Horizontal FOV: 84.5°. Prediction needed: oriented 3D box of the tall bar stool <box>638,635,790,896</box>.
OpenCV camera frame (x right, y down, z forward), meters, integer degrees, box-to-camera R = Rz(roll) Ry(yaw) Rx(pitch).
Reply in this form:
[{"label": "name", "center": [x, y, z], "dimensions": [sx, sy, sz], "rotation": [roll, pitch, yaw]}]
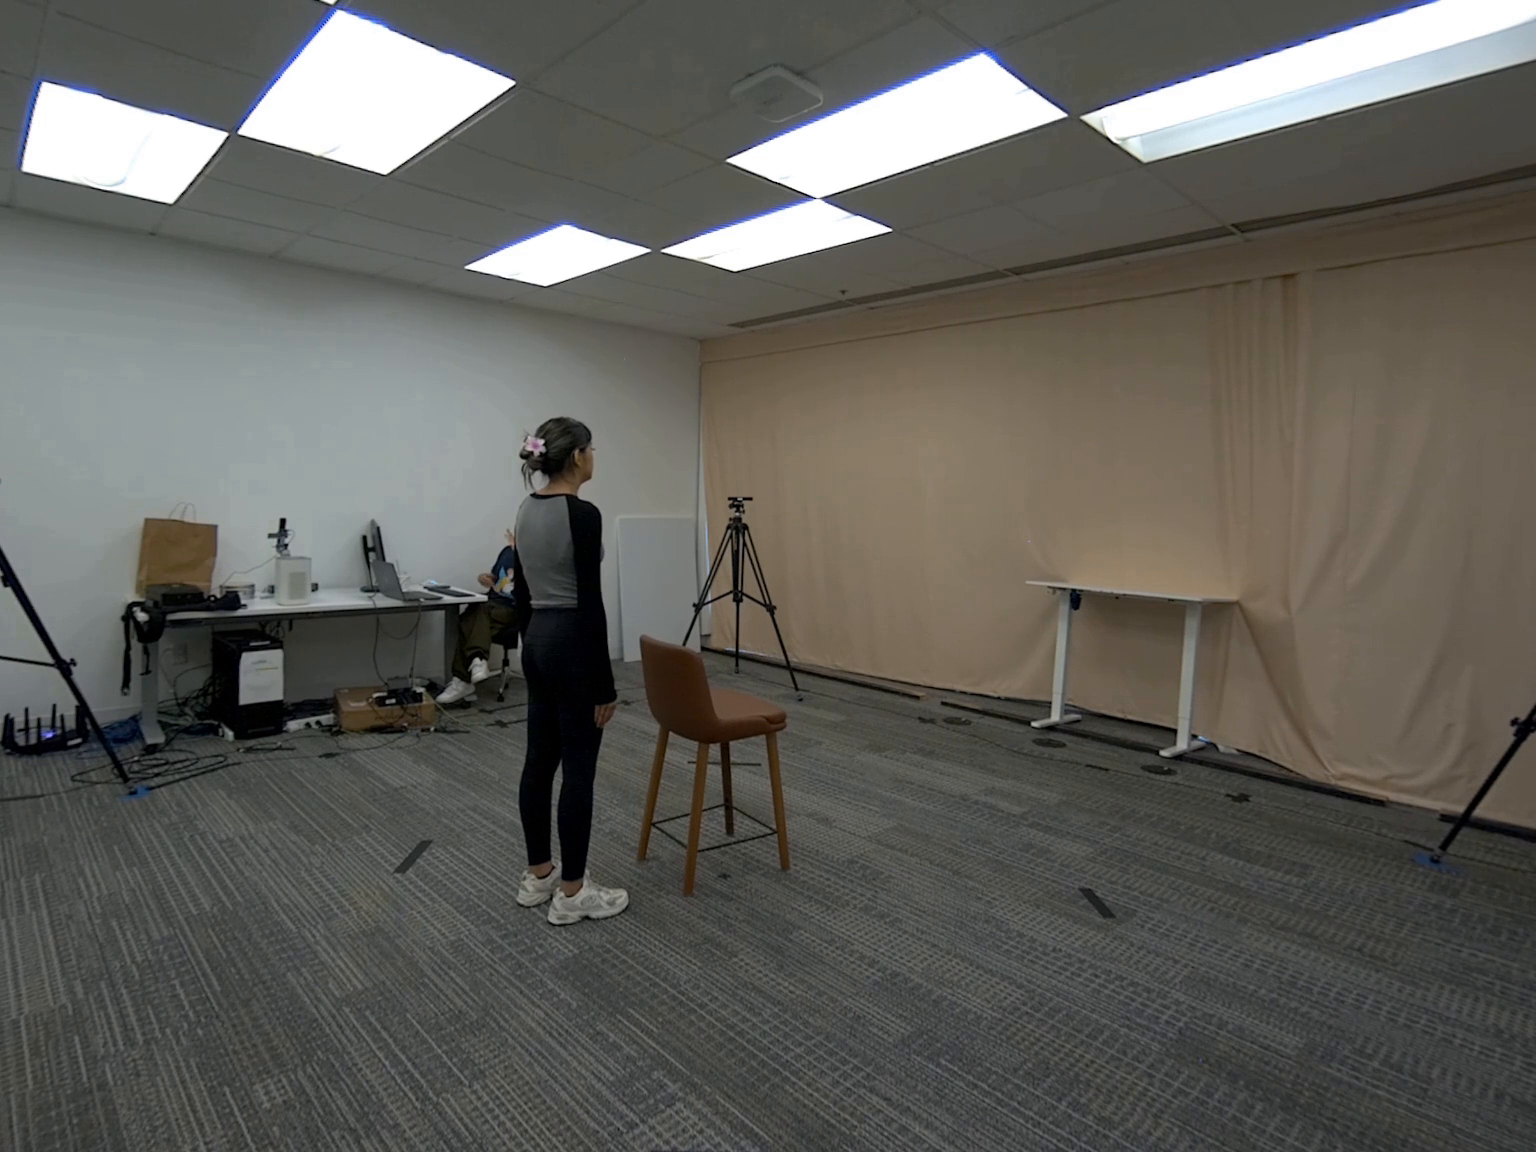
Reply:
[{"label": "tall bar stool", "center": [-0.220, 0.660, 3.184], "dimensions": [0.458, 0.887, 0.468], "rotation": [-4, 6, -35]}]
